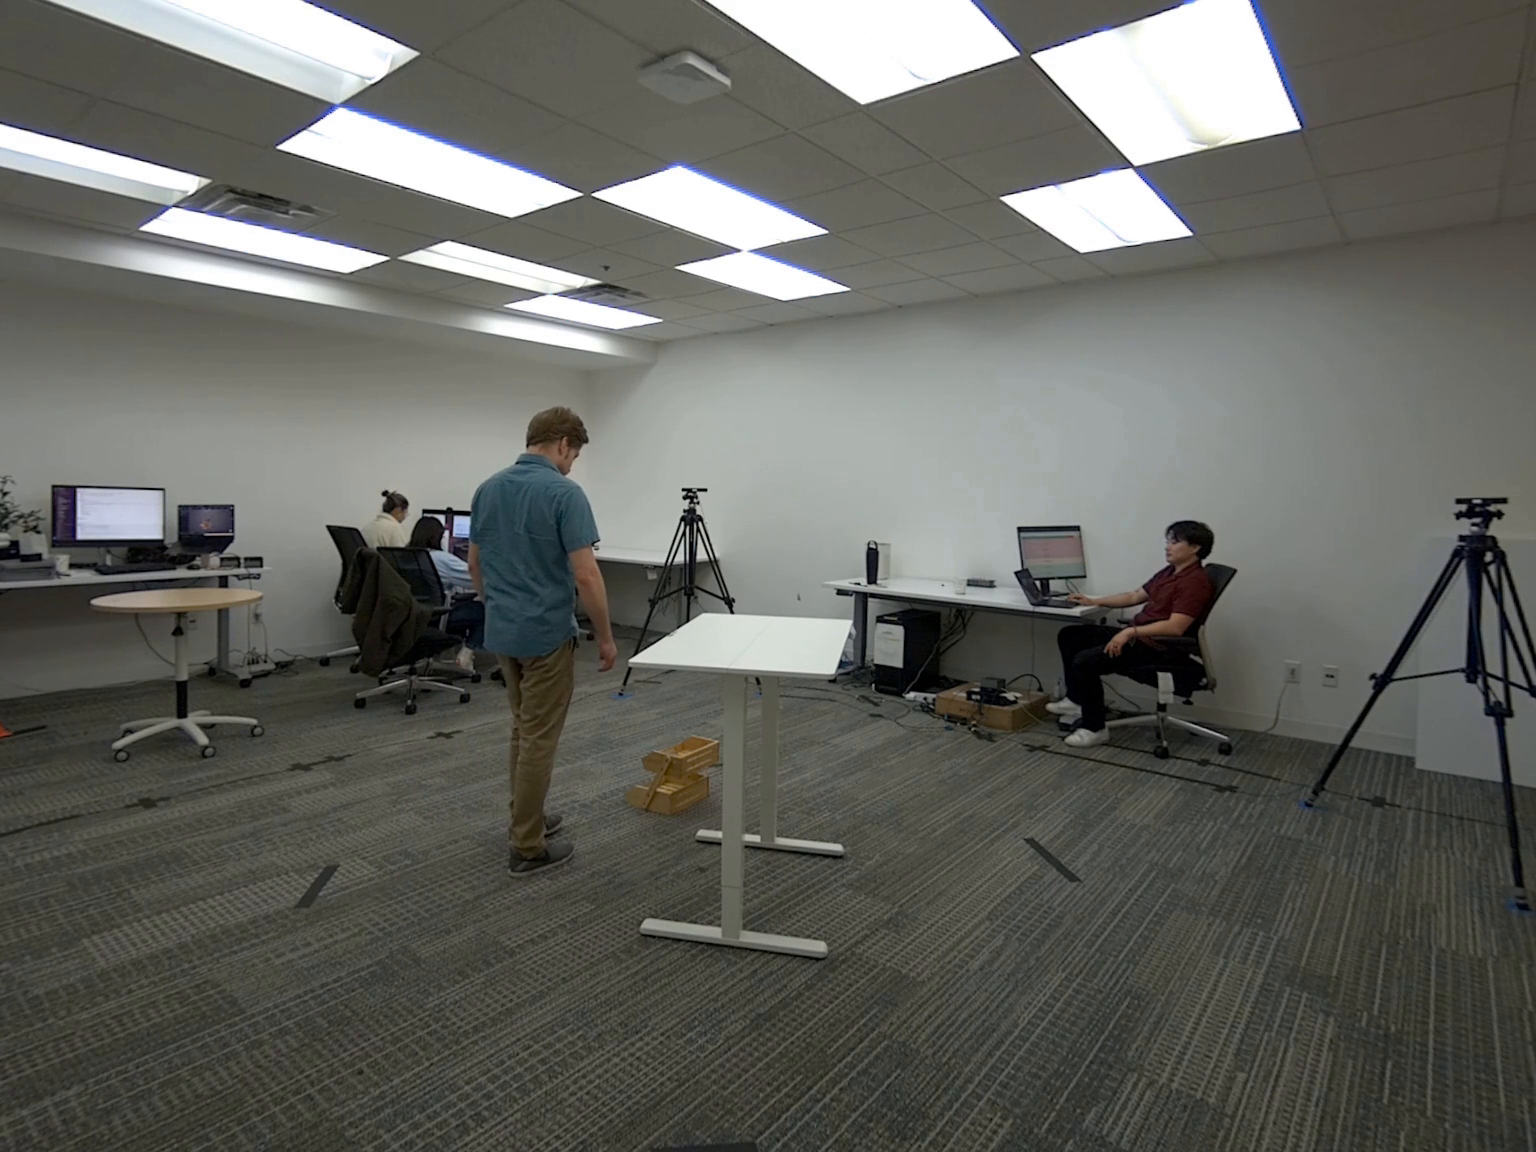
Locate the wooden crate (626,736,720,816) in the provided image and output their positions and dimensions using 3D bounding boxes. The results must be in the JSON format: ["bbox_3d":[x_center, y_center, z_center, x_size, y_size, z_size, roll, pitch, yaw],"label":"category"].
[{"bbox_3d":[-0.441,0.868,3.789,0.311,0.272,0.316,4,5,31],"label":"wooden crate"}]
